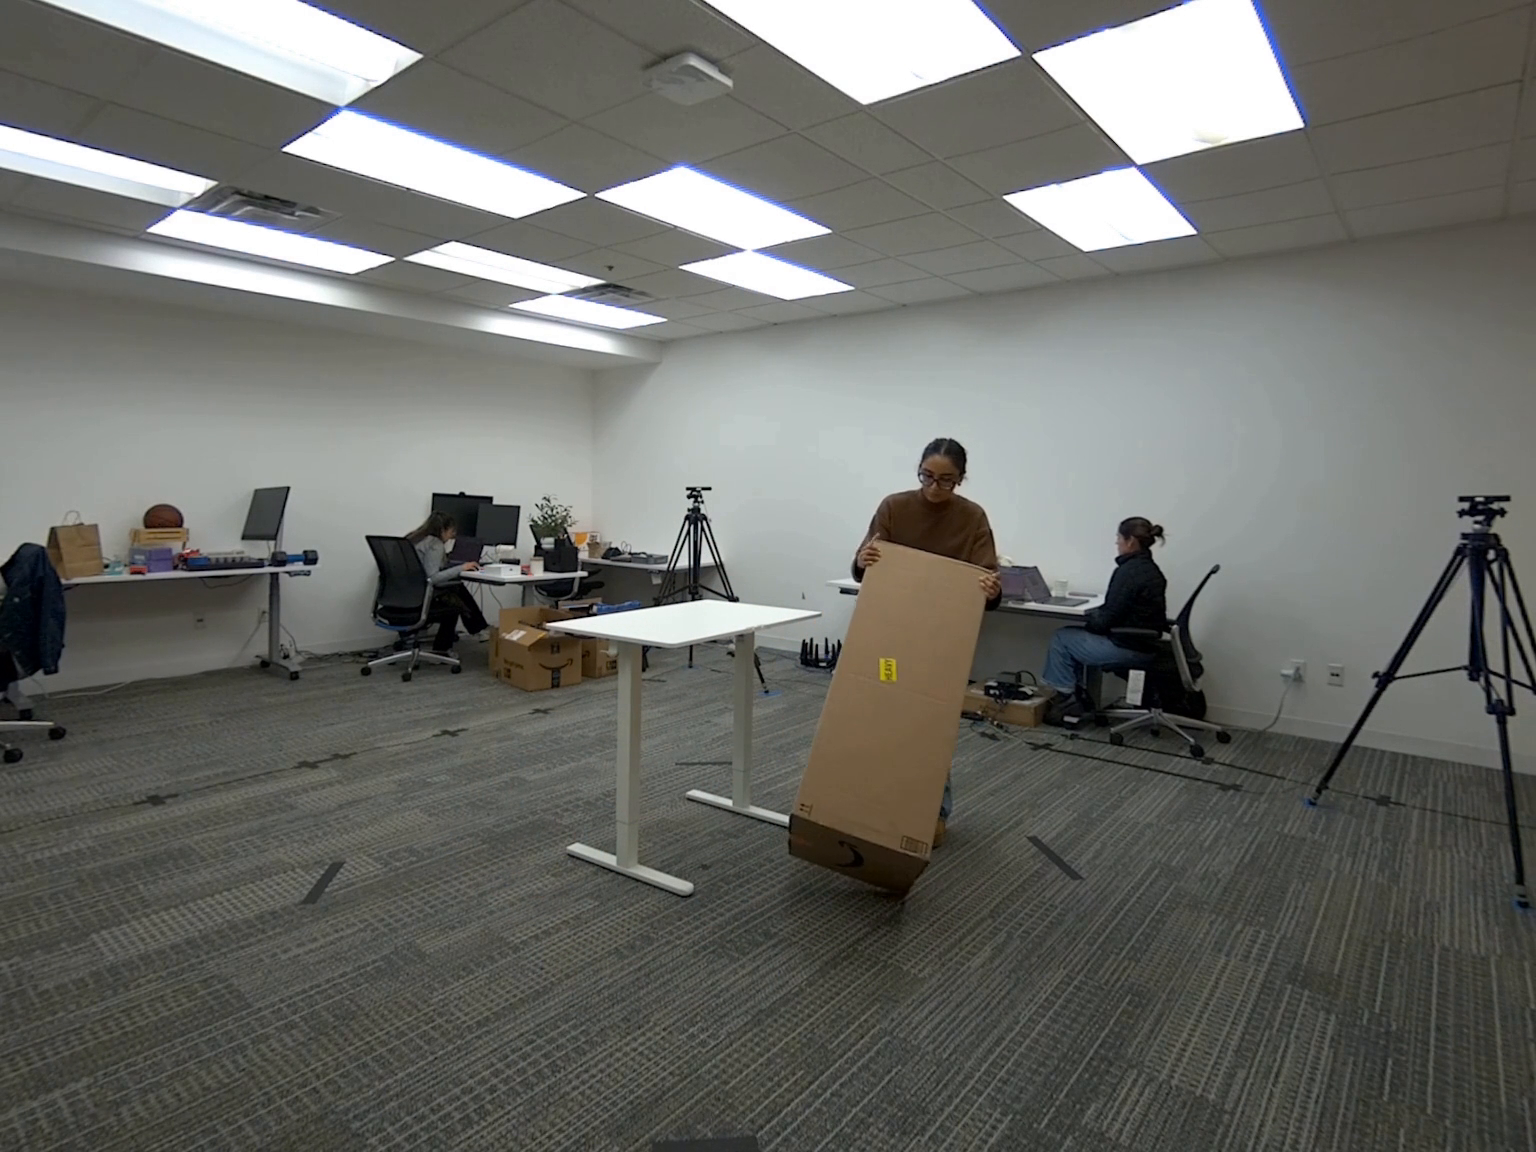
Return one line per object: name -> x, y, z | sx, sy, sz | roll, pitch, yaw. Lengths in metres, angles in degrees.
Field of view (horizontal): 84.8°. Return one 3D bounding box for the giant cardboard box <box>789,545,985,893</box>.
giant cardboard box -> 0.424, 0.489, 3.003 | 0.433, 1.039, 0.562 | 15, -29, 10
